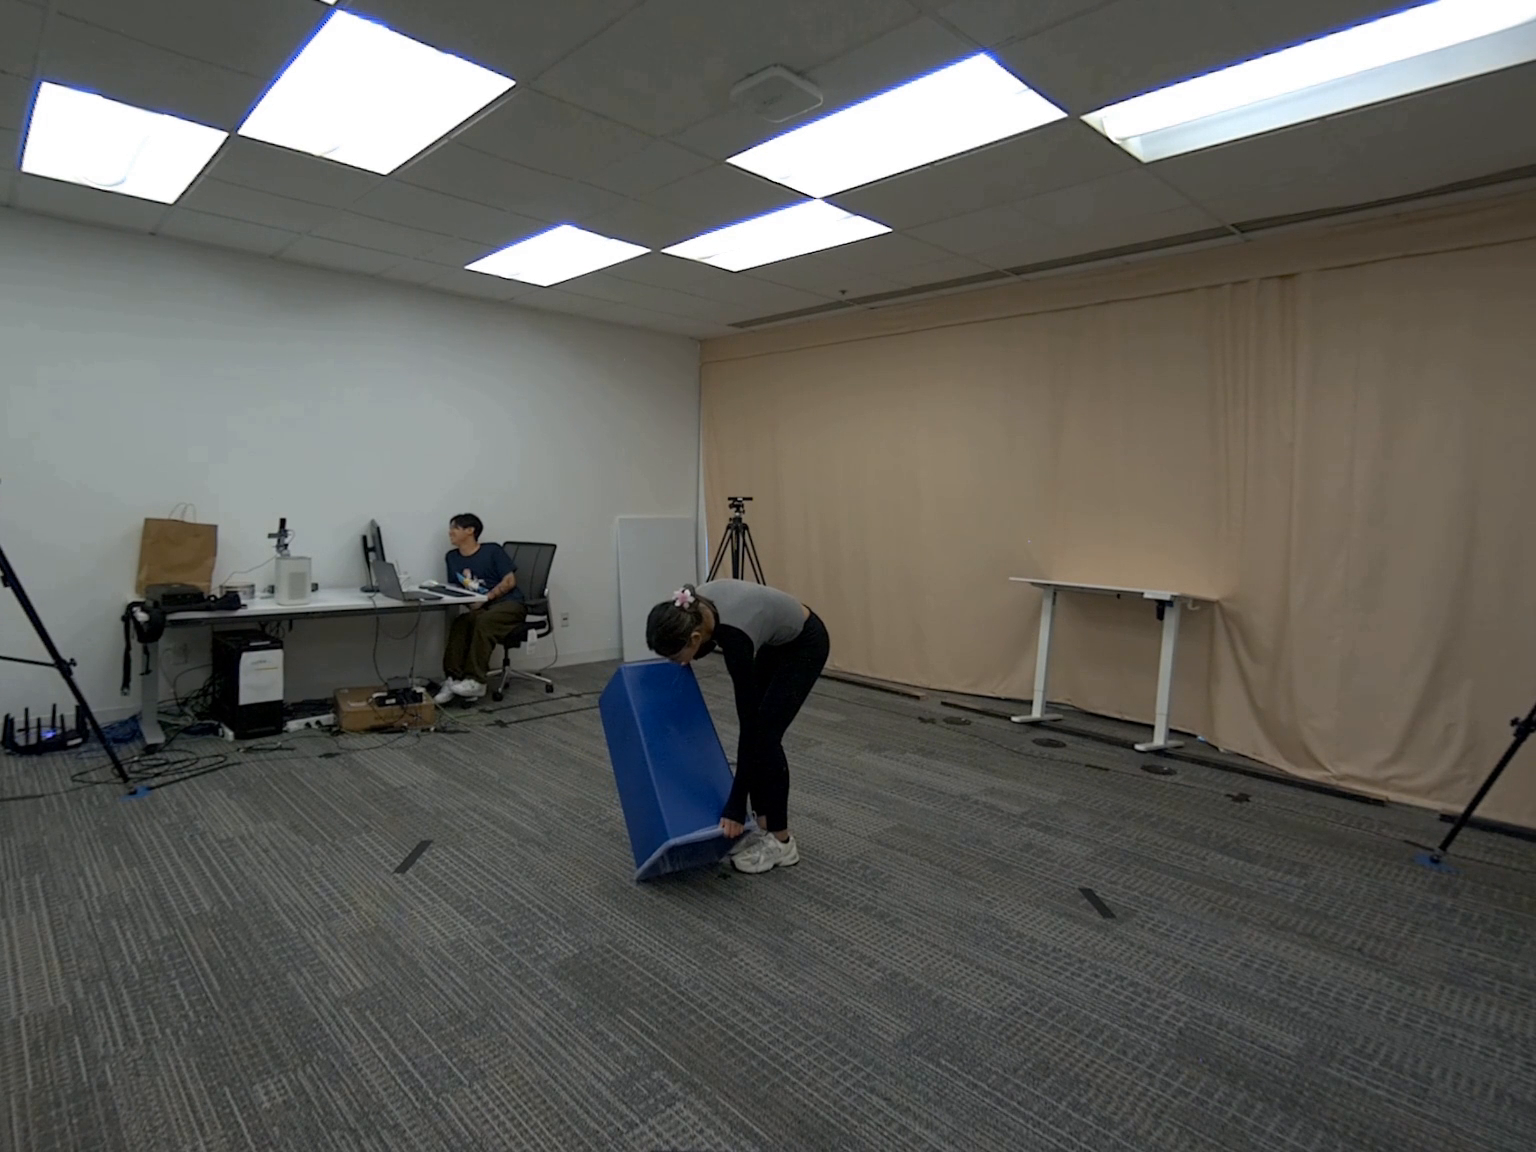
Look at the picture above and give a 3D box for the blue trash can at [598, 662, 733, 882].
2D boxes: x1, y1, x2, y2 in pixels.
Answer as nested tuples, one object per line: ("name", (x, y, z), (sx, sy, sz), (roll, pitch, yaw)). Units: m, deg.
("blue trash can", (-0.389, 0.709, 3.188), (0.370, 0.731, 0.372), (-2, -35, -33))
